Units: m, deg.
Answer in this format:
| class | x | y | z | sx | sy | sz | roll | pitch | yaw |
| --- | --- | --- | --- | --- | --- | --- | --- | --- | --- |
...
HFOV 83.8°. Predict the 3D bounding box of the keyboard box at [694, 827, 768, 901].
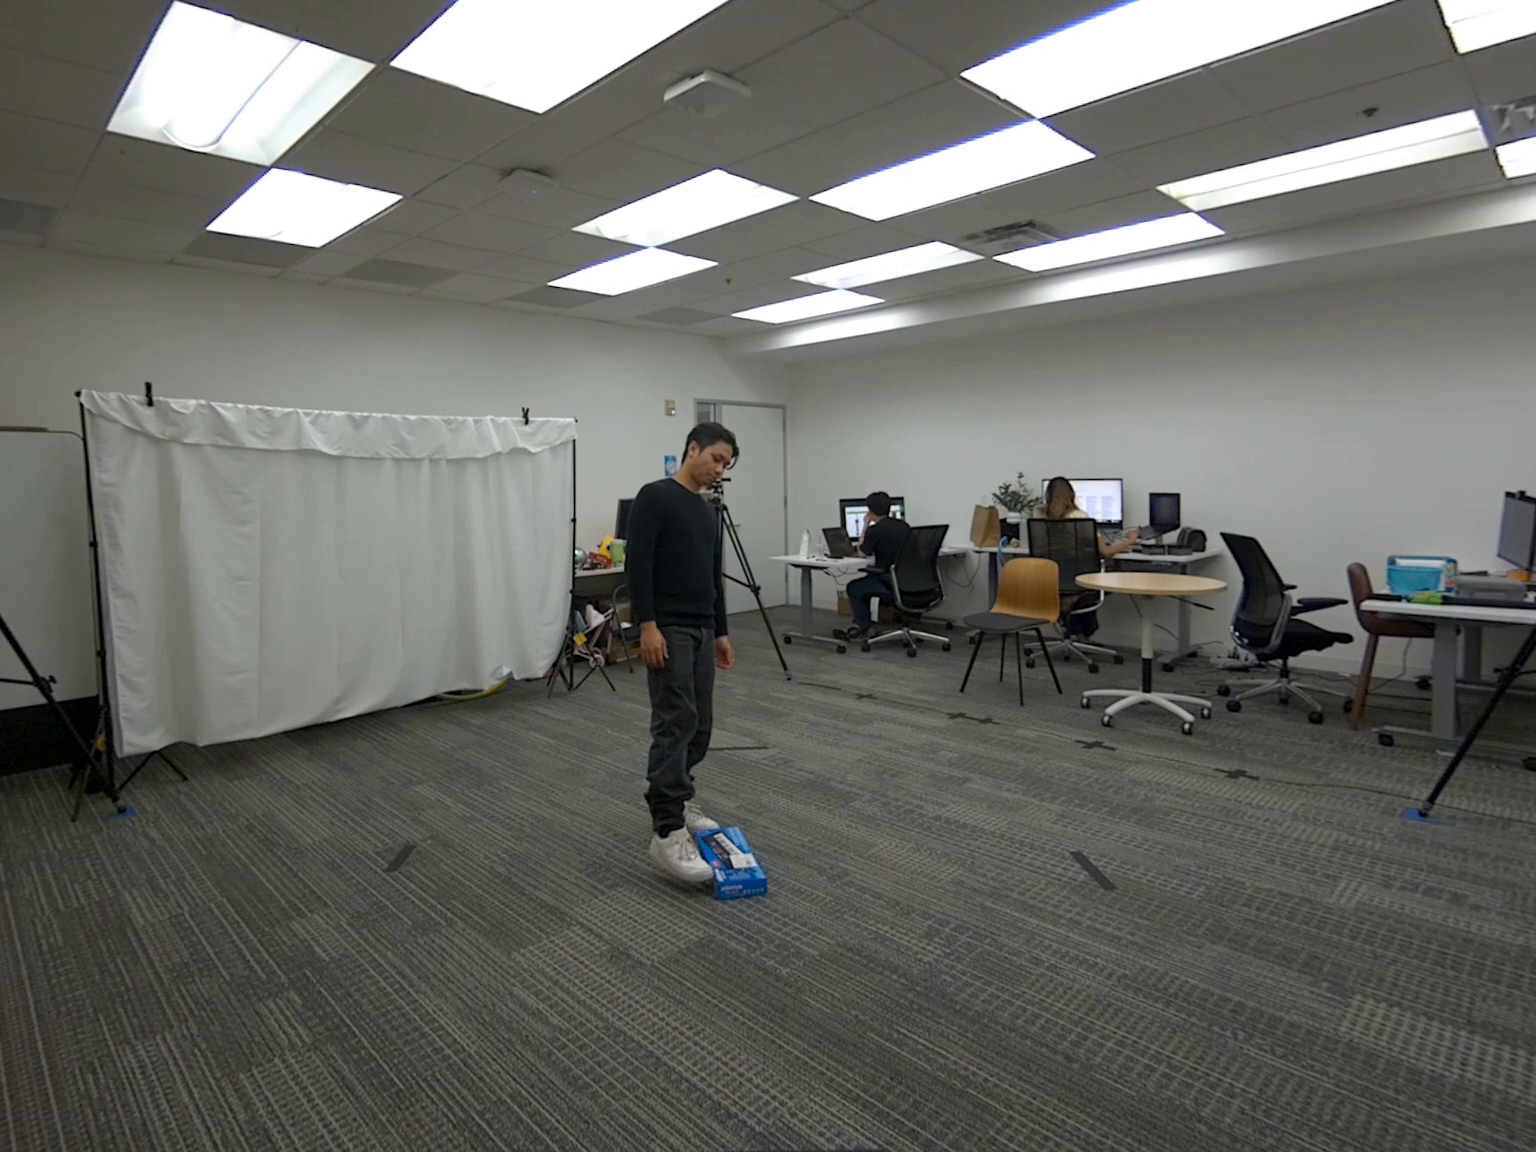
| class | x | y | z | sx | sy | sz | roll | pitch | yaw |
| --- | --- | --- | --- | --- | --- | --- | --- | --- | --- |
| keyboard box | -0.140 | 1.017 | 3.060 | 0.174 | 0.059 | 0.444 | -3 | 7 | -14 |
